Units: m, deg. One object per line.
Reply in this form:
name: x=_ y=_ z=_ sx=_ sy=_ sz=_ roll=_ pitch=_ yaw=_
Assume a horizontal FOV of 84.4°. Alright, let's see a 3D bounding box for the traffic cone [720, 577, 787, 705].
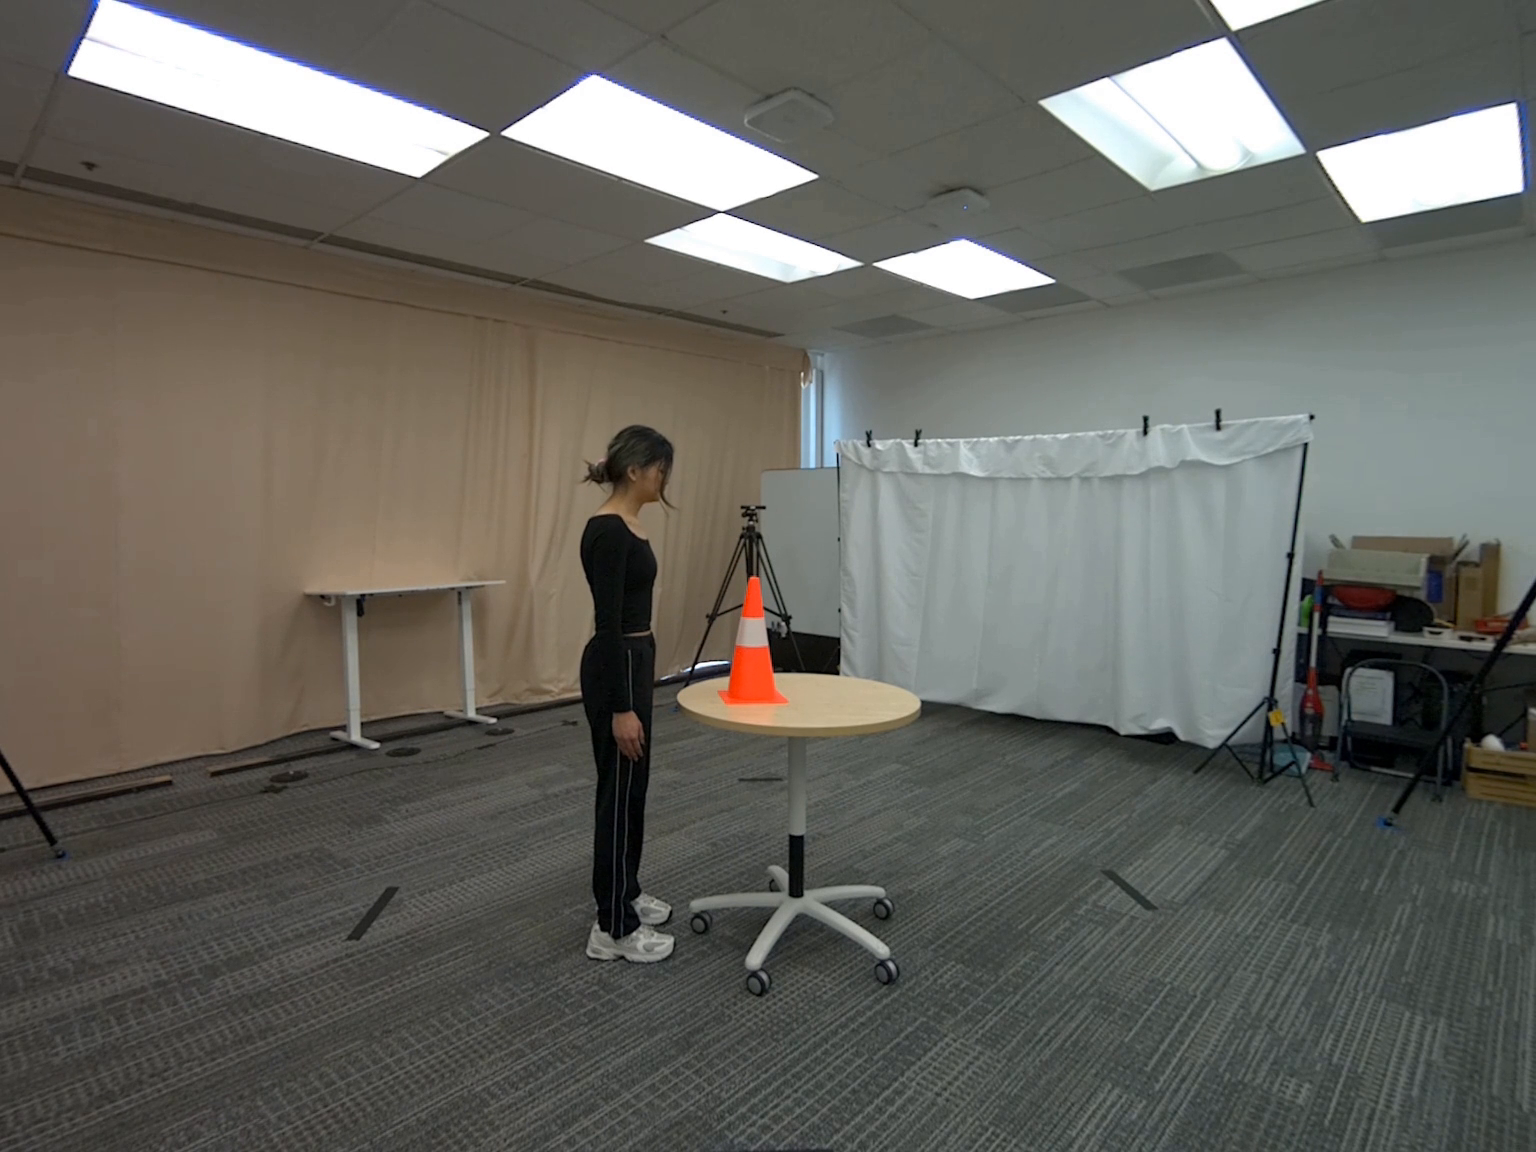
traffic cone: x=-0.048 y=0.199 z=2.655 sx=0.201 sy=0.383 sz=0.208 roll=0 pitch=4 yaw=-11
